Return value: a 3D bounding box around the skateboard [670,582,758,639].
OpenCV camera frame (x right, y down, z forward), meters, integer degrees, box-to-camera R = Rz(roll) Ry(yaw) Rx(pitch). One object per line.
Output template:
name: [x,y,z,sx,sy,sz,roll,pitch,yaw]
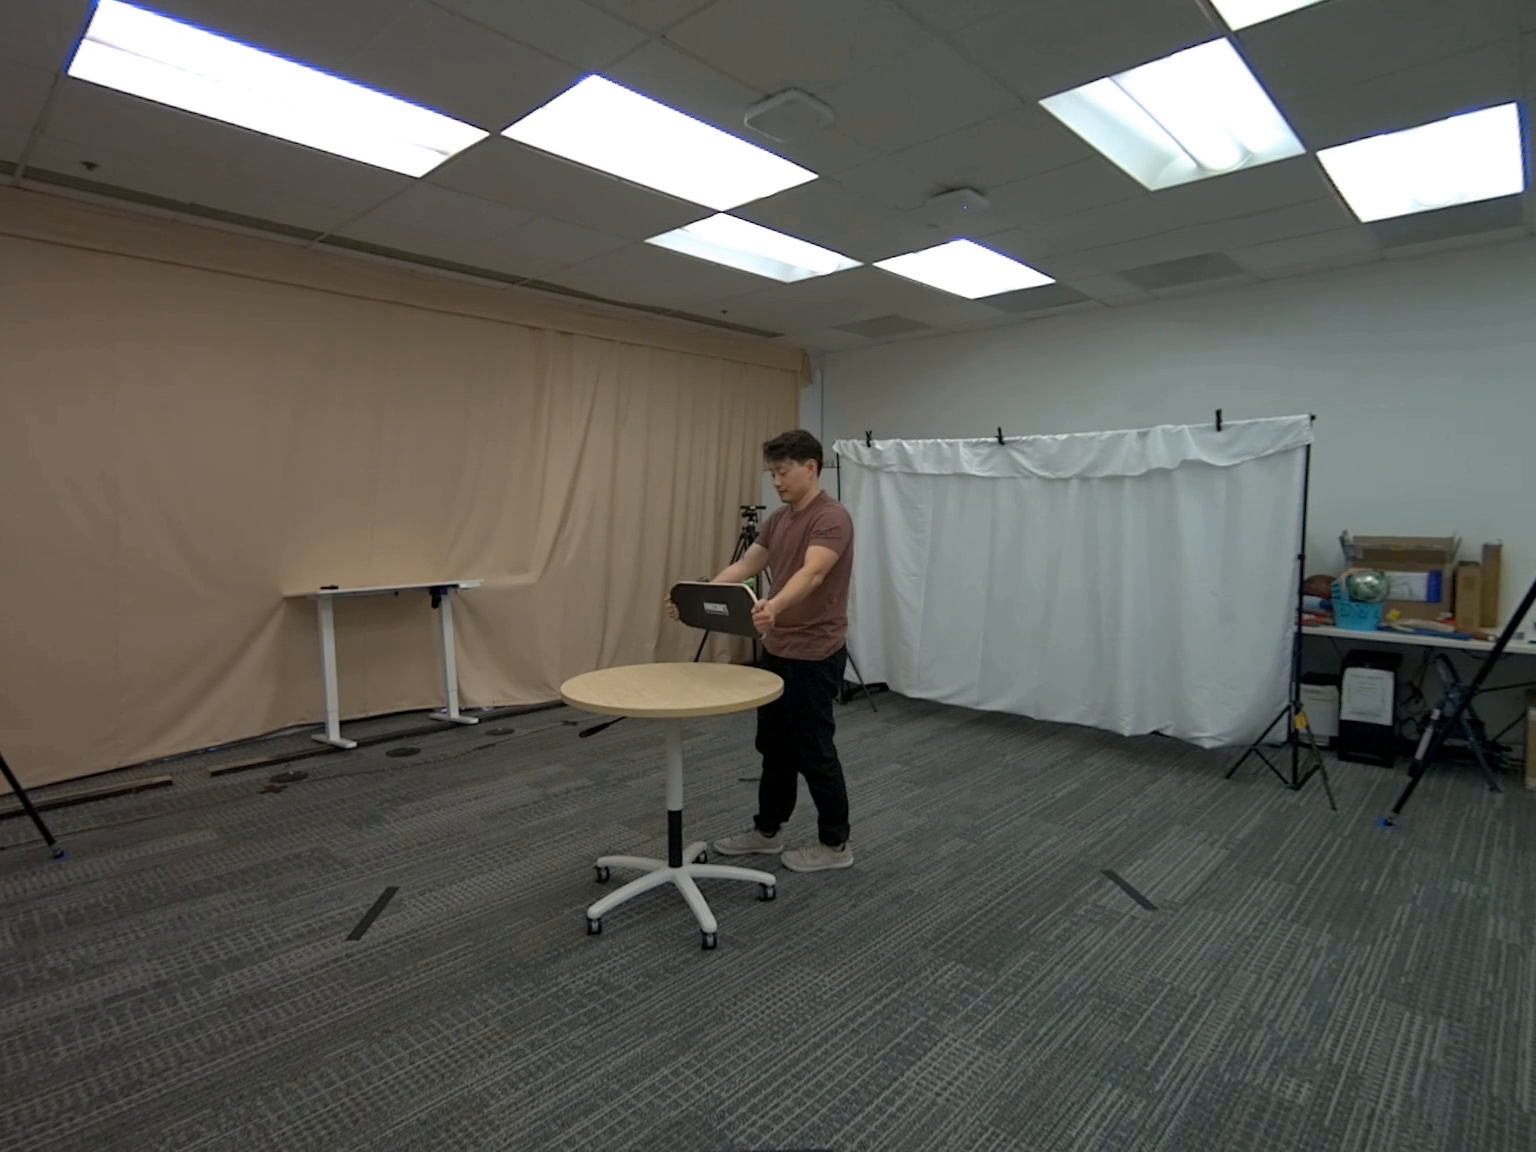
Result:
skateboard: [-0.167,0.112,3.089,0.108,0.192,0.804,-18,8,-25]
